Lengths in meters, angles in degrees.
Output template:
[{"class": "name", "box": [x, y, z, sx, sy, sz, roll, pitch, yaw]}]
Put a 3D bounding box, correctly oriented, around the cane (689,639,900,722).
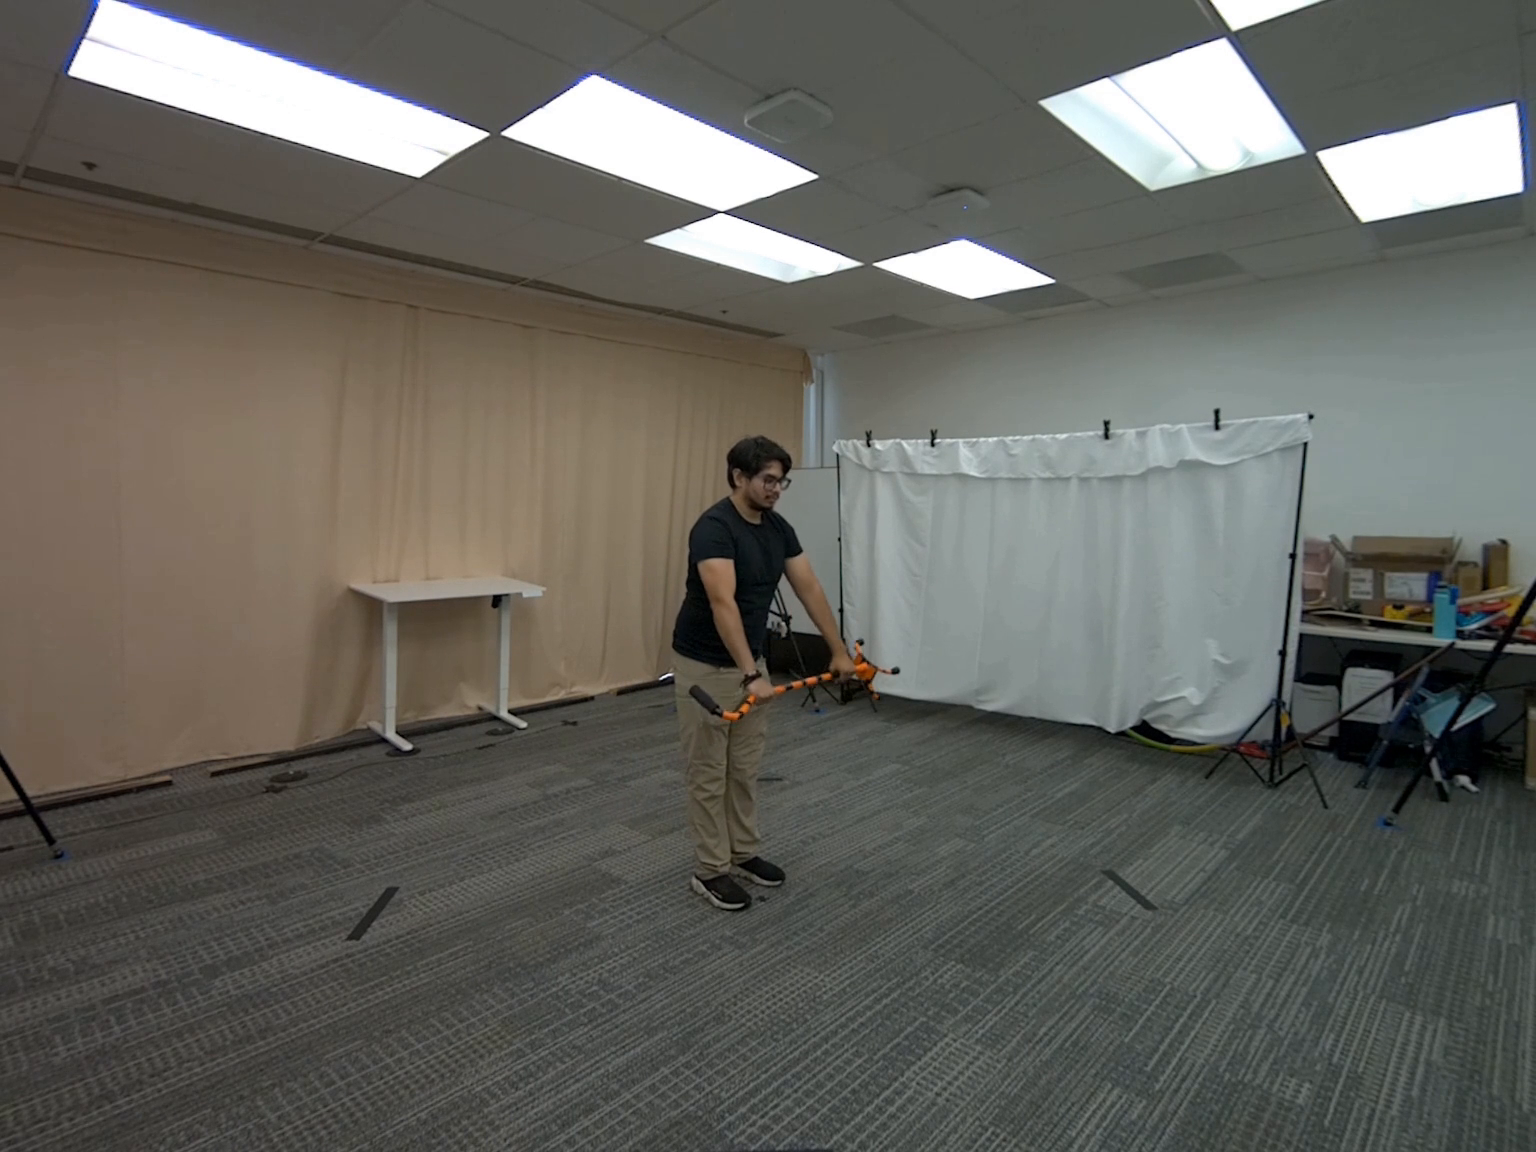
[{"class": "cane", "box": [0.105, 0.371, 2.833, 0.880, 0.151, 0.213, -5, 36, -48]}]
